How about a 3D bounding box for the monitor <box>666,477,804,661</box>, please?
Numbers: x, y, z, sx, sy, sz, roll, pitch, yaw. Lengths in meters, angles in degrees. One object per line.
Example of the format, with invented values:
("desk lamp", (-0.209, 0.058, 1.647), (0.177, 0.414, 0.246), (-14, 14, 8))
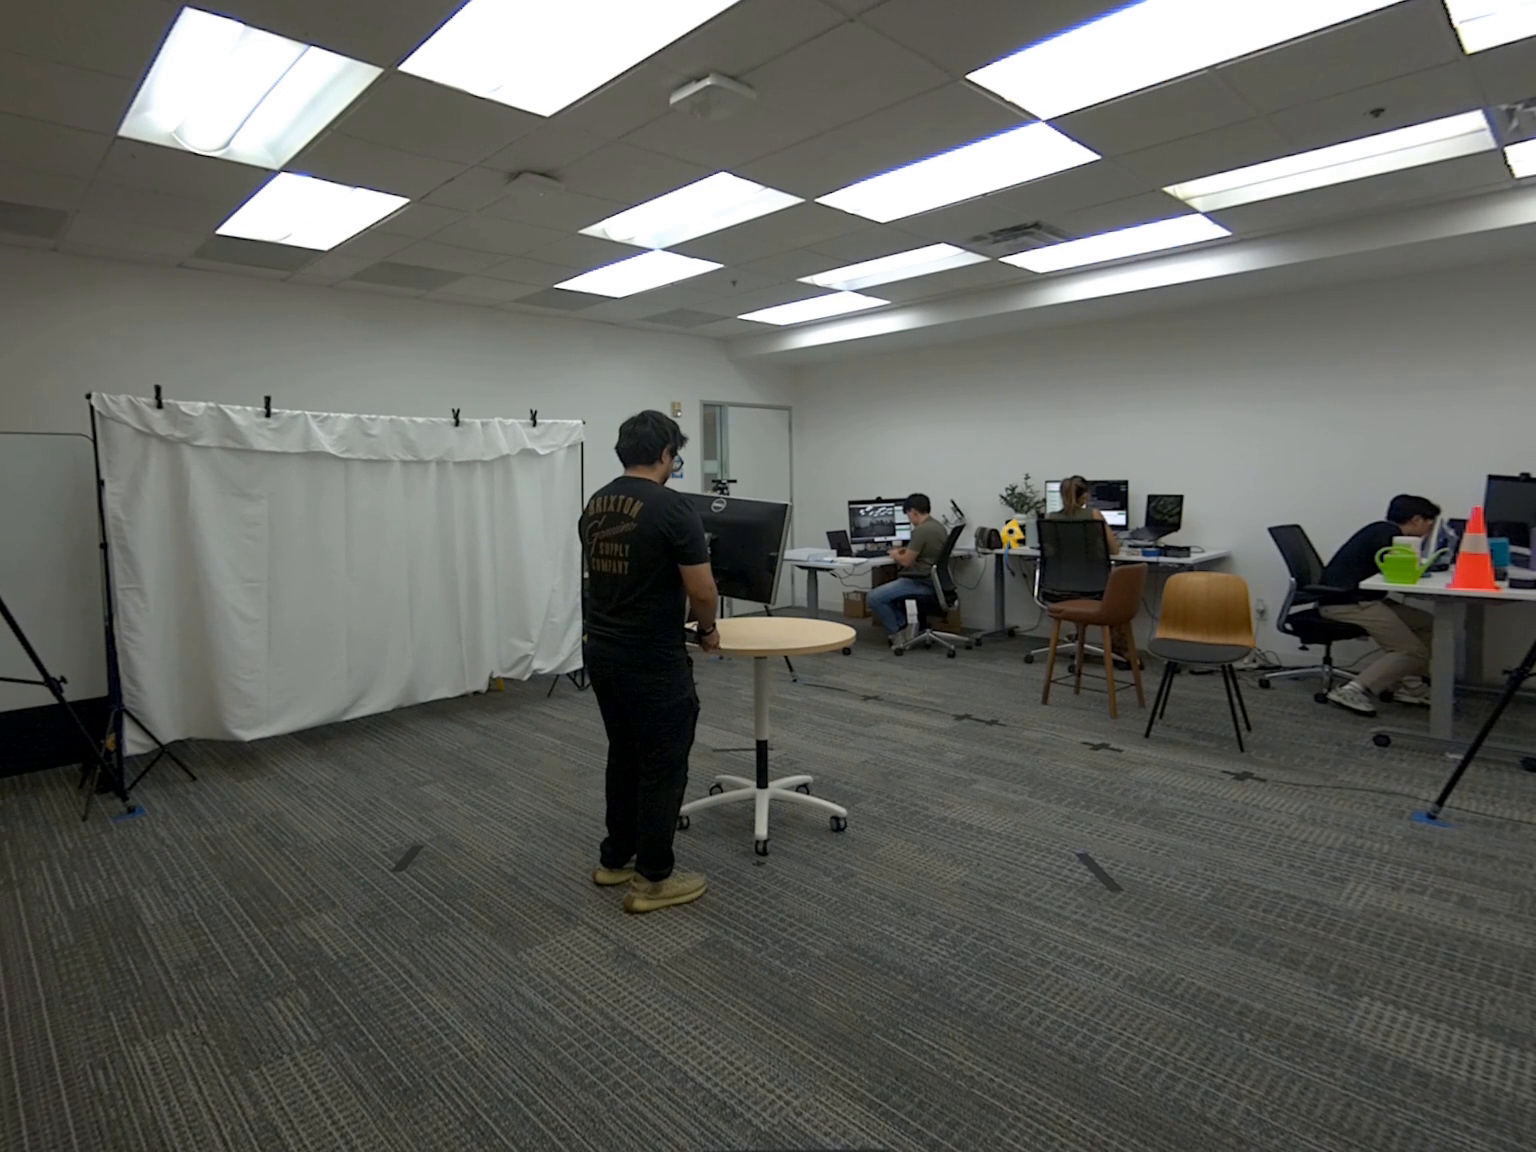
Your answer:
("monitor", (-0.229, -0.043, 3.046), (0.583, 0.557, 0.202), (8, -10, 33))
